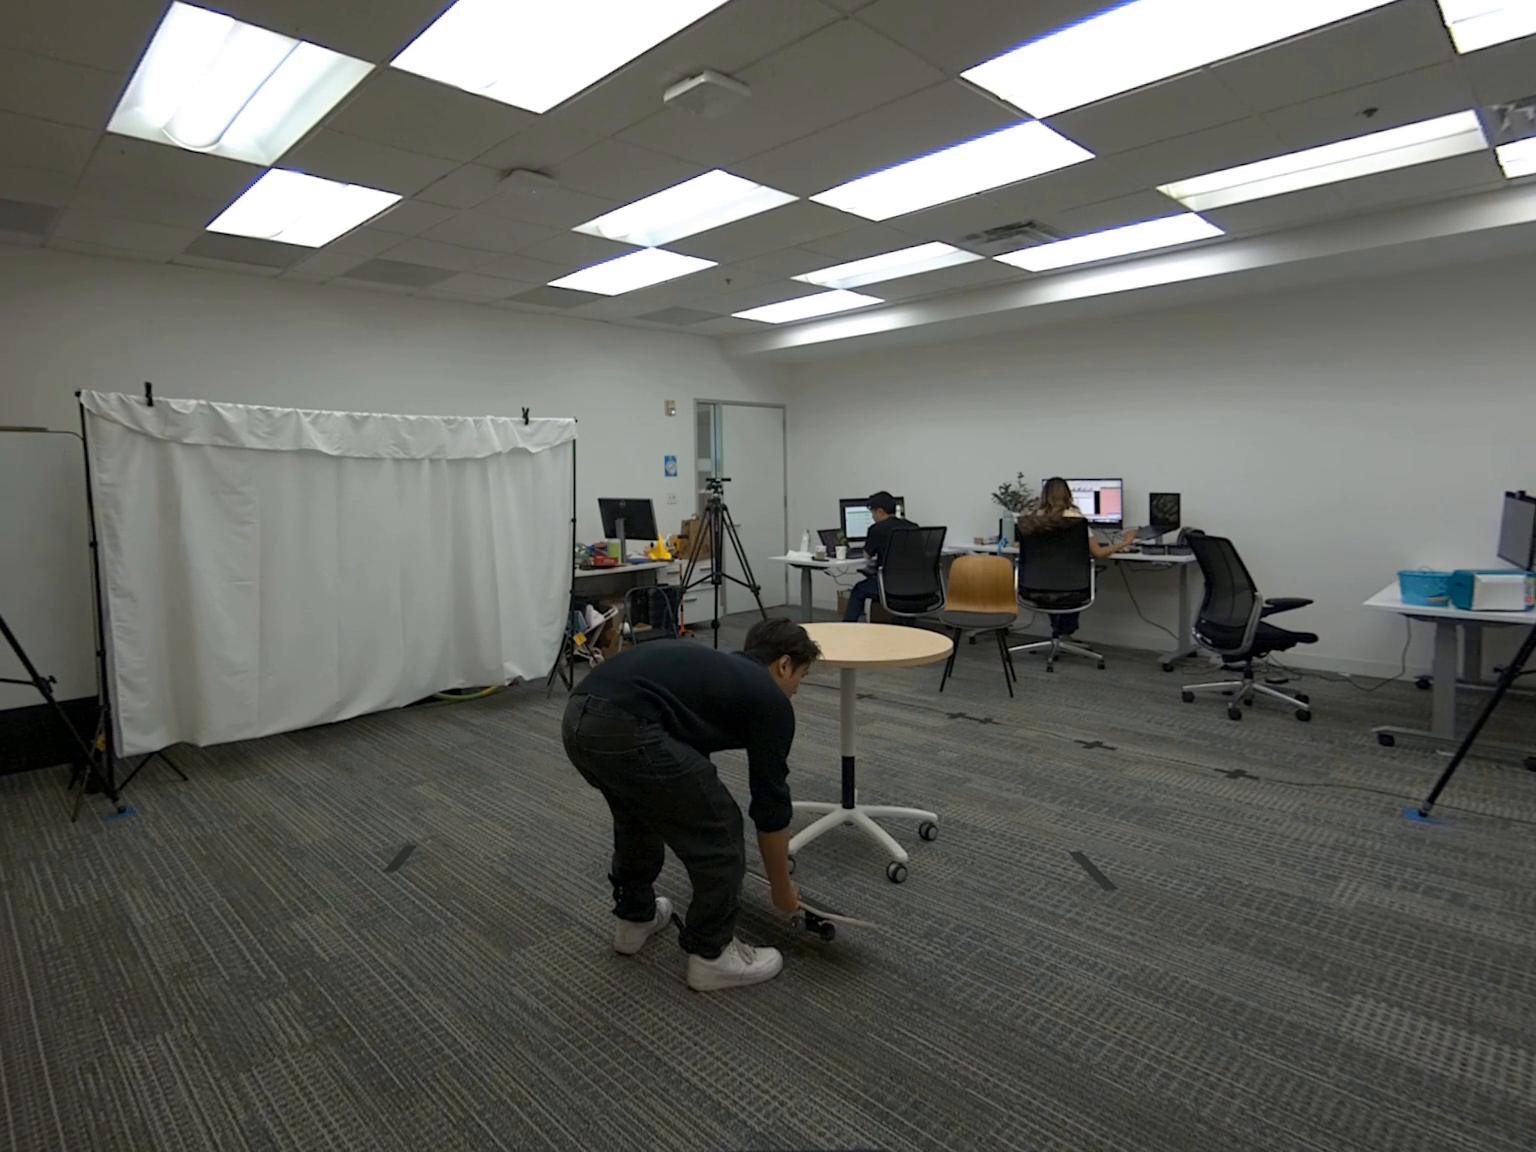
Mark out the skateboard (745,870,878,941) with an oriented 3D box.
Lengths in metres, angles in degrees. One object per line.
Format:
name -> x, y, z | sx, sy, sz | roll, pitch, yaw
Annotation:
skateboard -> 0.007, 0.991, 2.669 | 0.810, 0.111, 0.186 | 6, -18, 46
